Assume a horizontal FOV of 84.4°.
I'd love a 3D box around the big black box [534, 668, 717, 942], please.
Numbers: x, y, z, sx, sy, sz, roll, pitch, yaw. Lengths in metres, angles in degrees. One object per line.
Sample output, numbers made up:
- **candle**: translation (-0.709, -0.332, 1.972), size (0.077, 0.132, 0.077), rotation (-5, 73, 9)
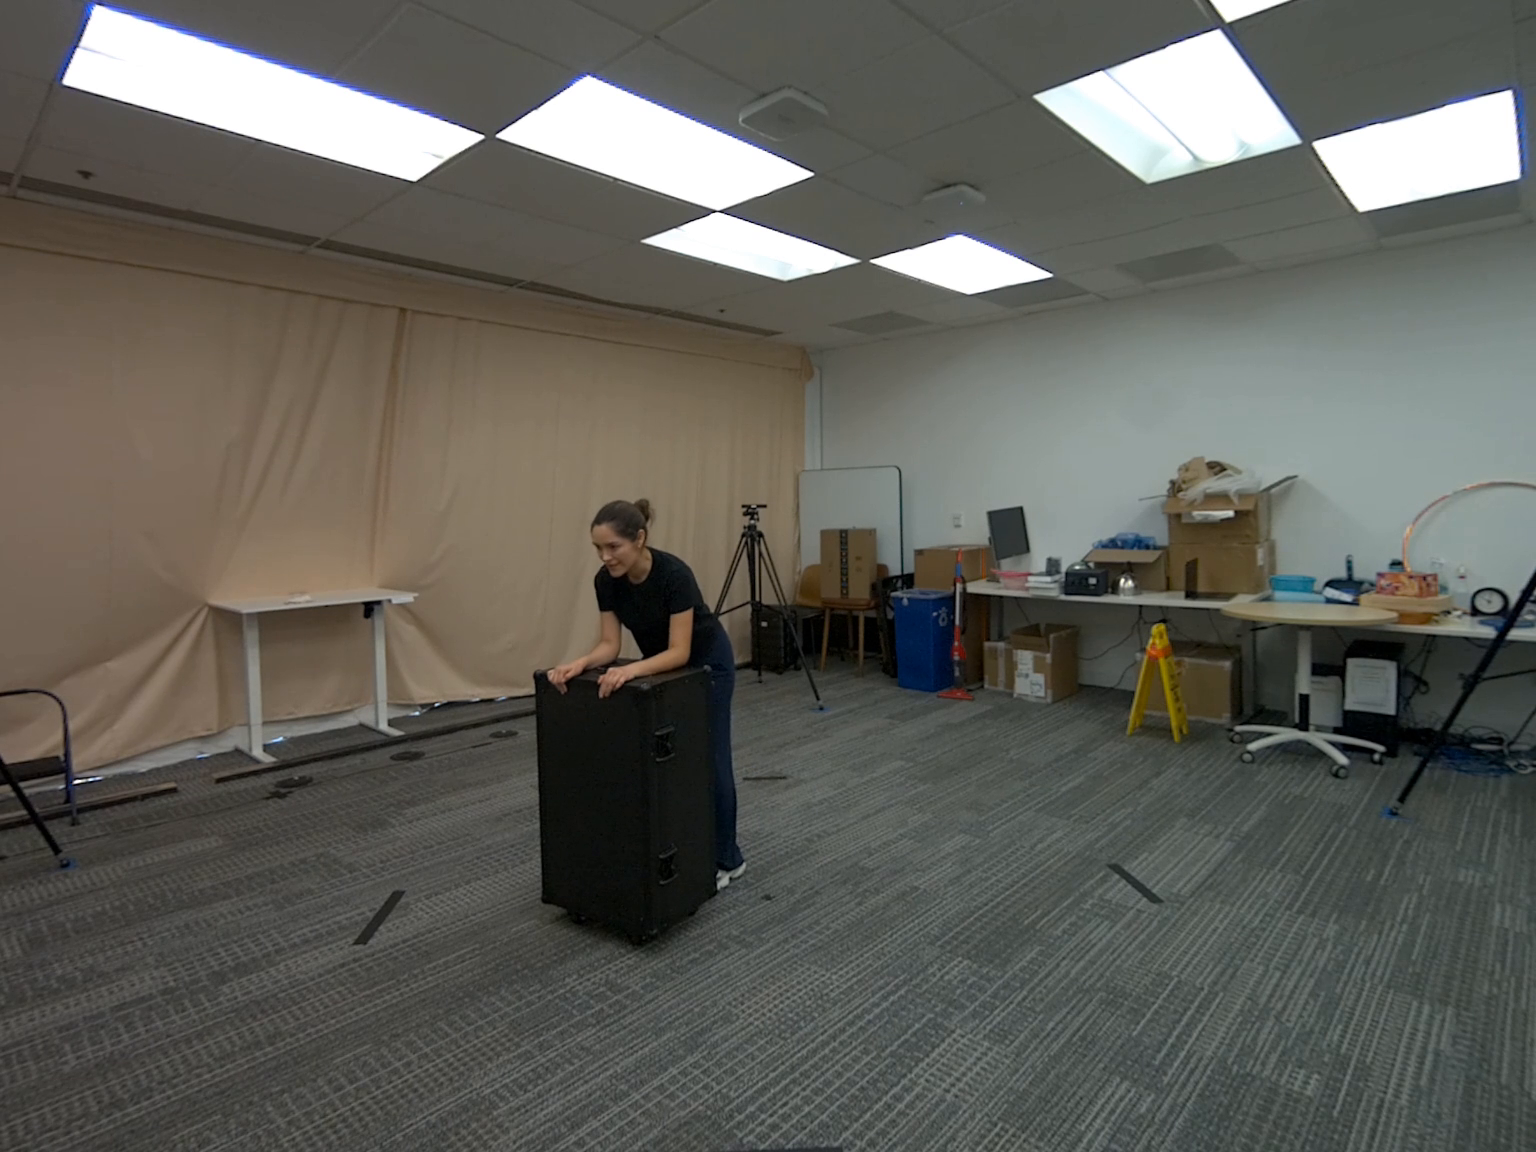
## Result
- **big black box**: translation (-0.460, 0.683, 2.835), size (0.537, 0.860, 0.385), rotation (1, 3, 33)
